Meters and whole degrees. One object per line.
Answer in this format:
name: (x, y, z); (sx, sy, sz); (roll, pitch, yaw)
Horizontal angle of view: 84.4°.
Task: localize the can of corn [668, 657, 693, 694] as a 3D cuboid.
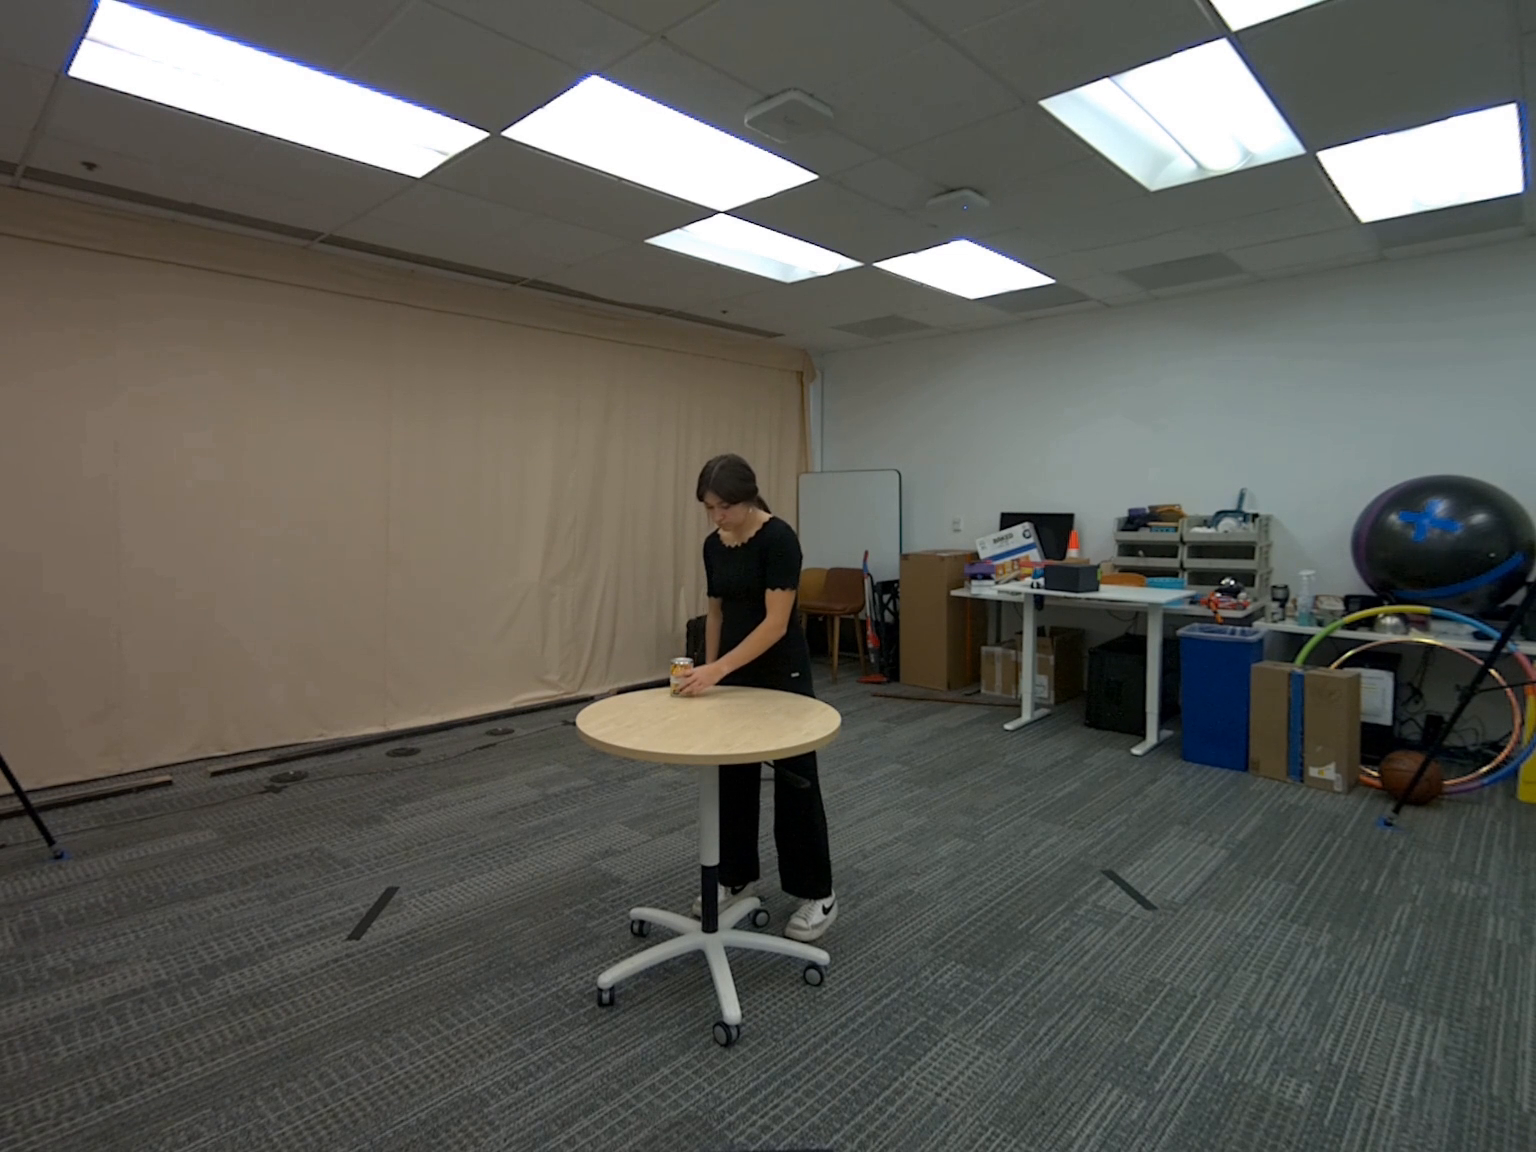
can of corn: (-0.272, 0.328, 2.701); (0.074, 0.111, 0.074); (0, 5, -2)
